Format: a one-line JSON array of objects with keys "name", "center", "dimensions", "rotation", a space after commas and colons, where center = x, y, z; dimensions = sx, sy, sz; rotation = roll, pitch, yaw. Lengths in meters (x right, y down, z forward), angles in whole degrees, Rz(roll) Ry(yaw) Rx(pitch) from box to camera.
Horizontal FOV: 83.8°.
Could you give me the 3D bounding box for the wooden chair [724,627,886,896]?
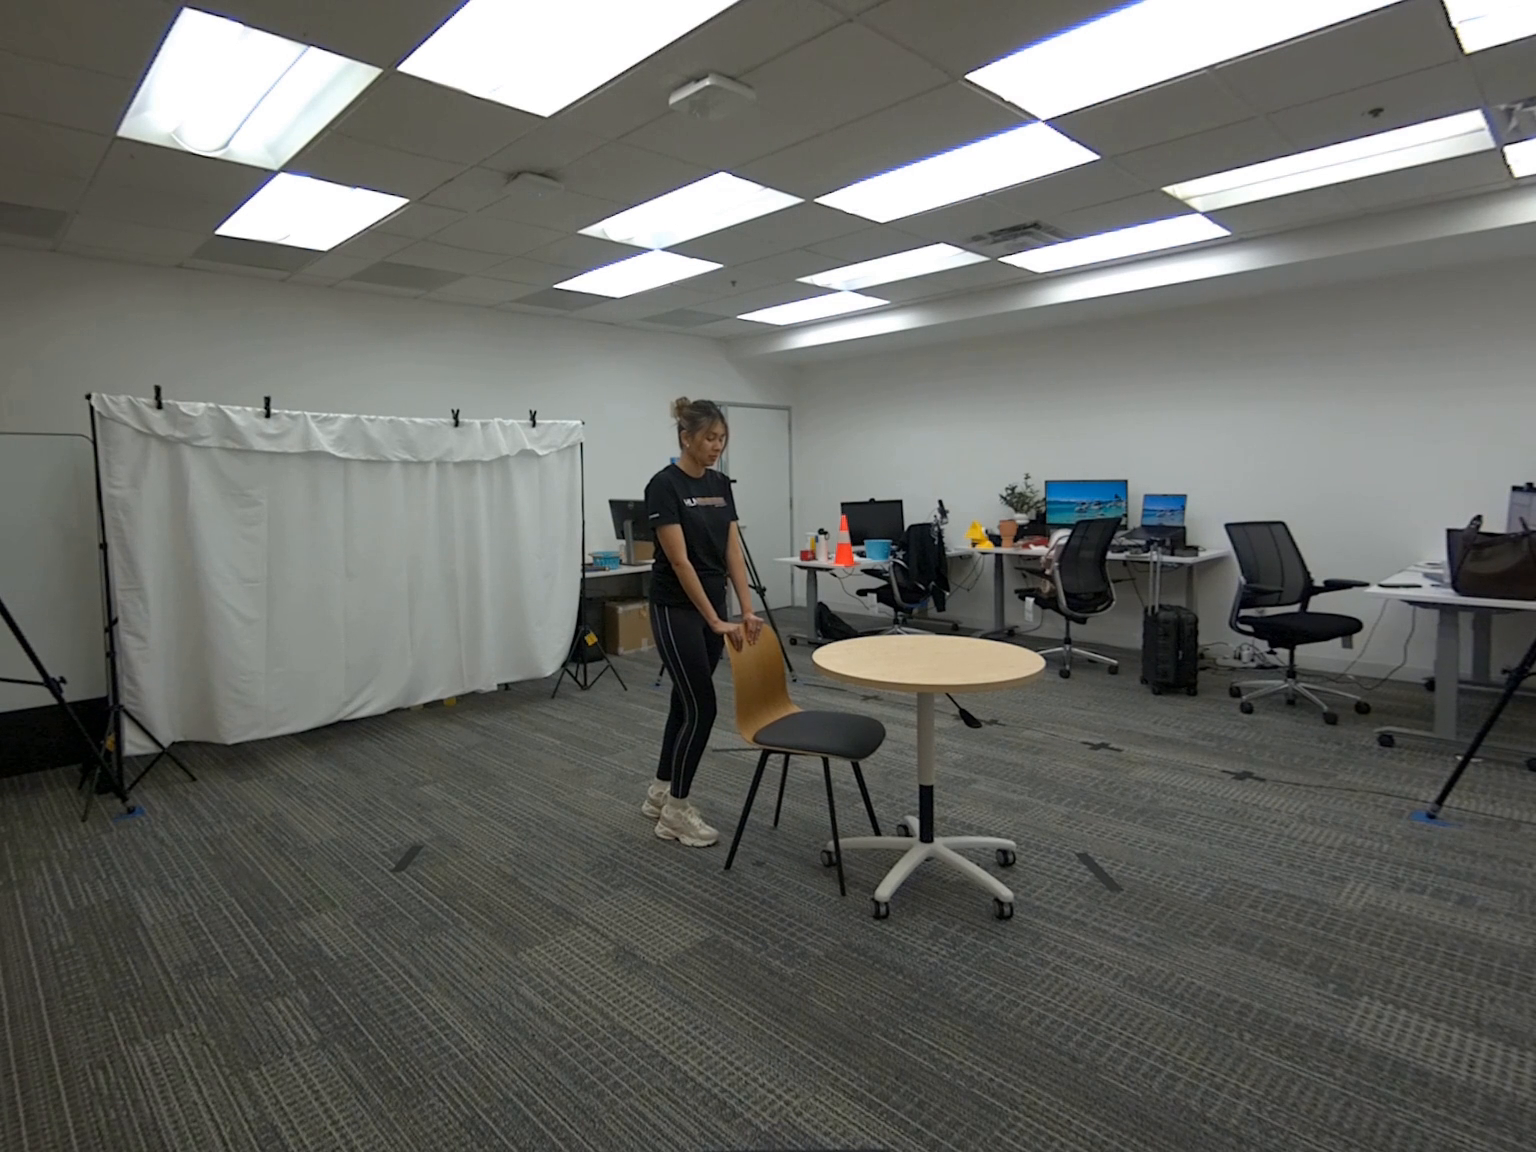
[{"name": "wooden chair", "center": [0.141, 0.614, 3.121], "dimensions": [0.535, 0.876, 0.468], "rotation": [-3, 2, 27]}]
